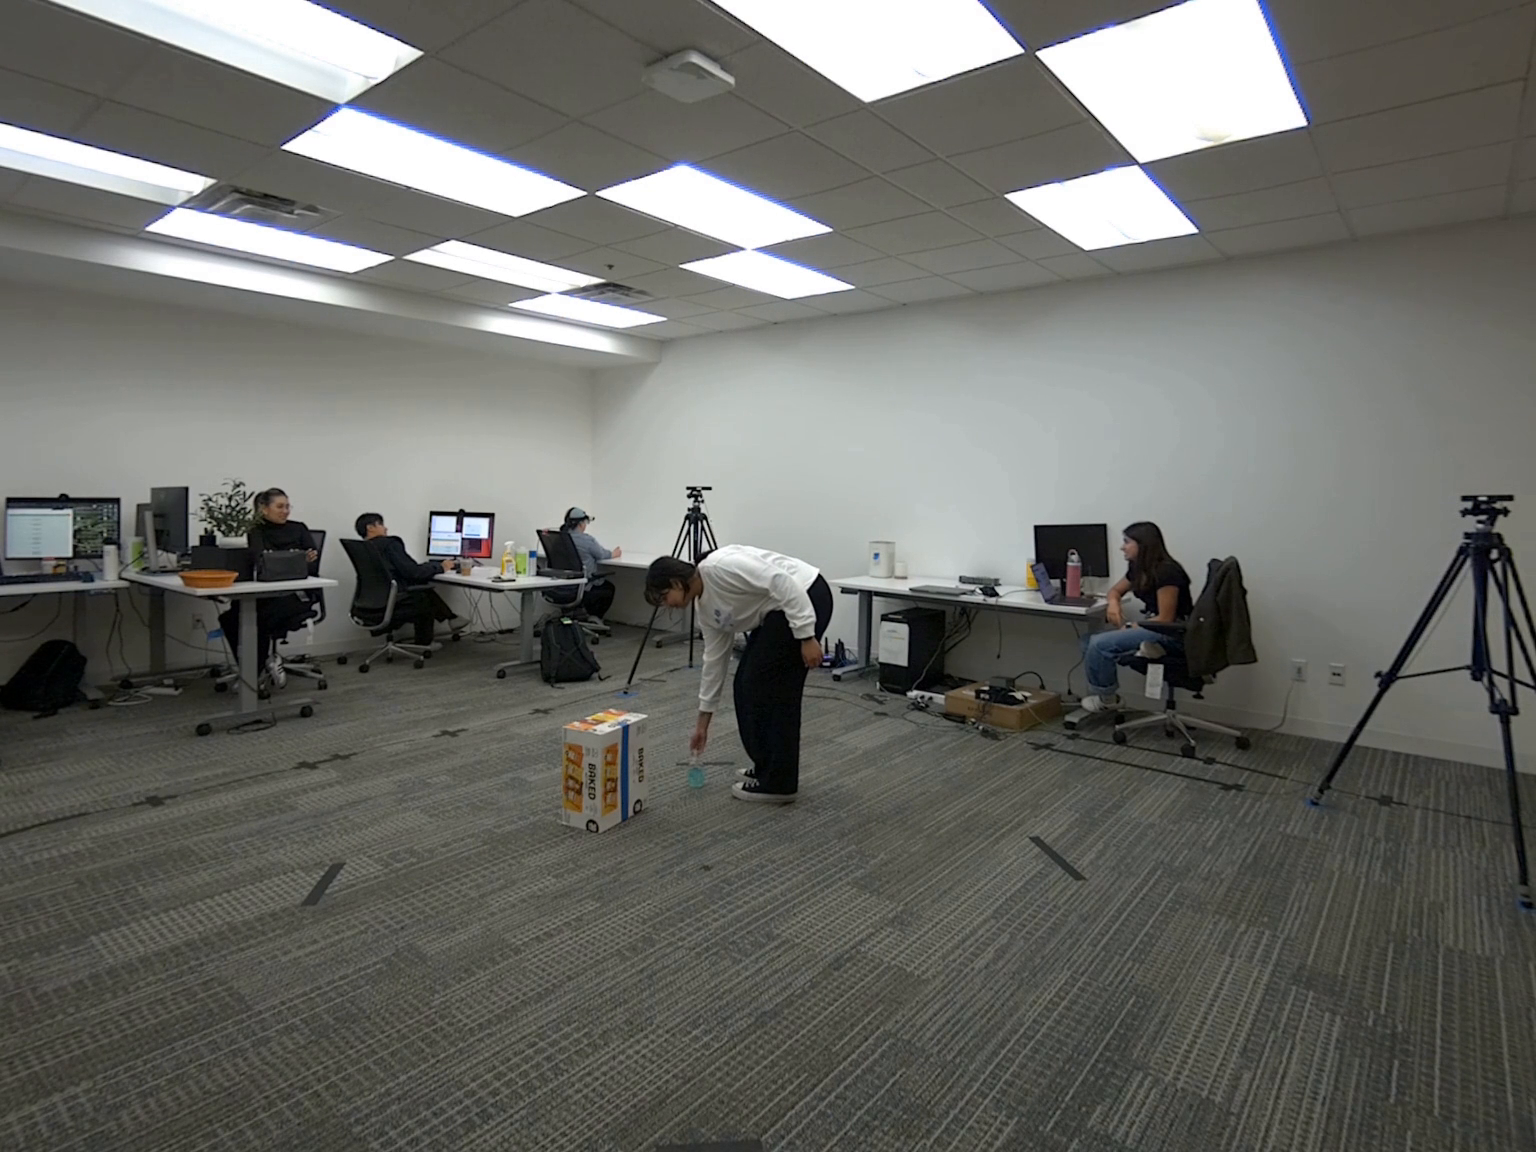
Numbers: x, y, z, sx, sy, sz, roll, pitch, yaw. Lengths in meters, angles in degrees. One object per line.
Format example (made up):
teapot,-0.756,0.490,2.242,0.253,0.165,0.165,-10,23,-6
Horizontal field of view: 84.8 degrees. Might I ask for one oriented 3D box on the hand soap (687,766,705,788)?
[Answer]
hand soap,-0.329,0.904,3.960,0.084,0.167,0.044,1,7,-7
